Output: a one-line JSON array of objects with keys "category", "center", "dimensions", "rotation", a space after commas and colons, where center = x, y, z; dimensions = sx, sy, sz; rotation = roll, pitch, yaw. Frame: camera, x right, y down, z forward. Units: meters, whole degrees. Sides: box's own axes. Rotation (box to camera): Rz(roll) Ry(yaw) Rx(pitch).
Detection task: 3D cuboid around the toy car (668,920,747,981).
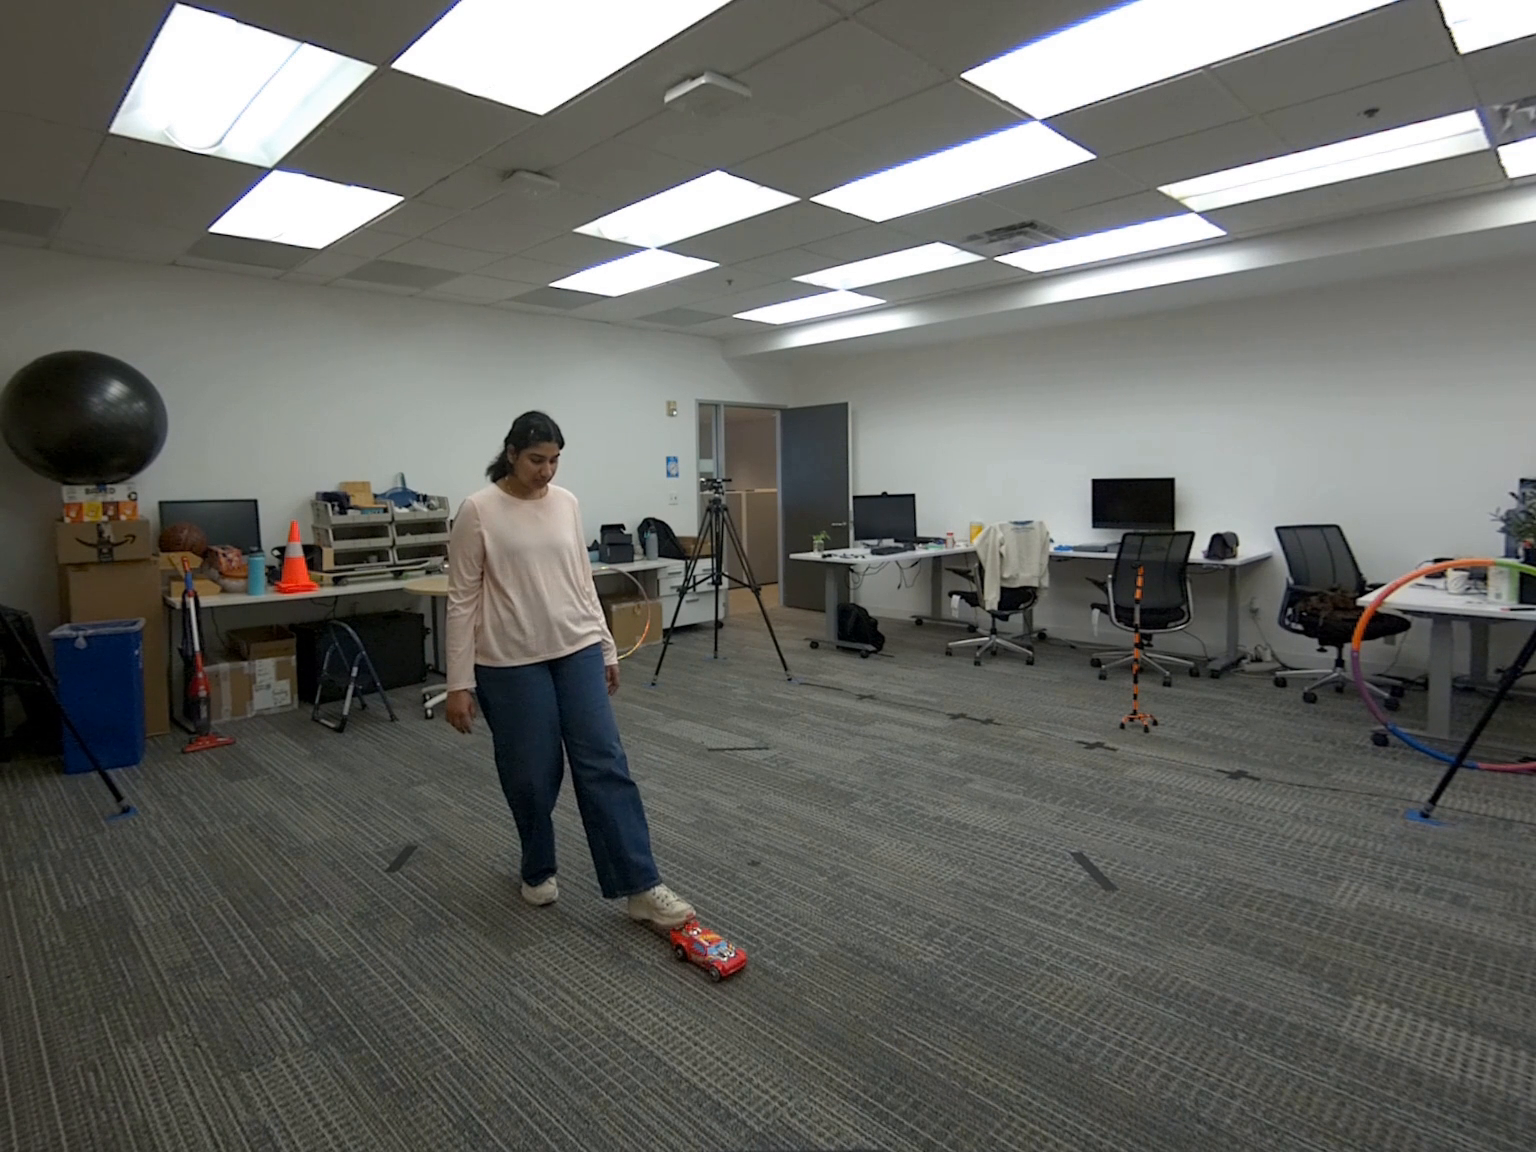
[{"category": "toy car", "center": [-0.179, 1.086, 2.484], "dimensions": [0.127, 0.082, 0.264], "rotation": [-8, 19, -44]}]
